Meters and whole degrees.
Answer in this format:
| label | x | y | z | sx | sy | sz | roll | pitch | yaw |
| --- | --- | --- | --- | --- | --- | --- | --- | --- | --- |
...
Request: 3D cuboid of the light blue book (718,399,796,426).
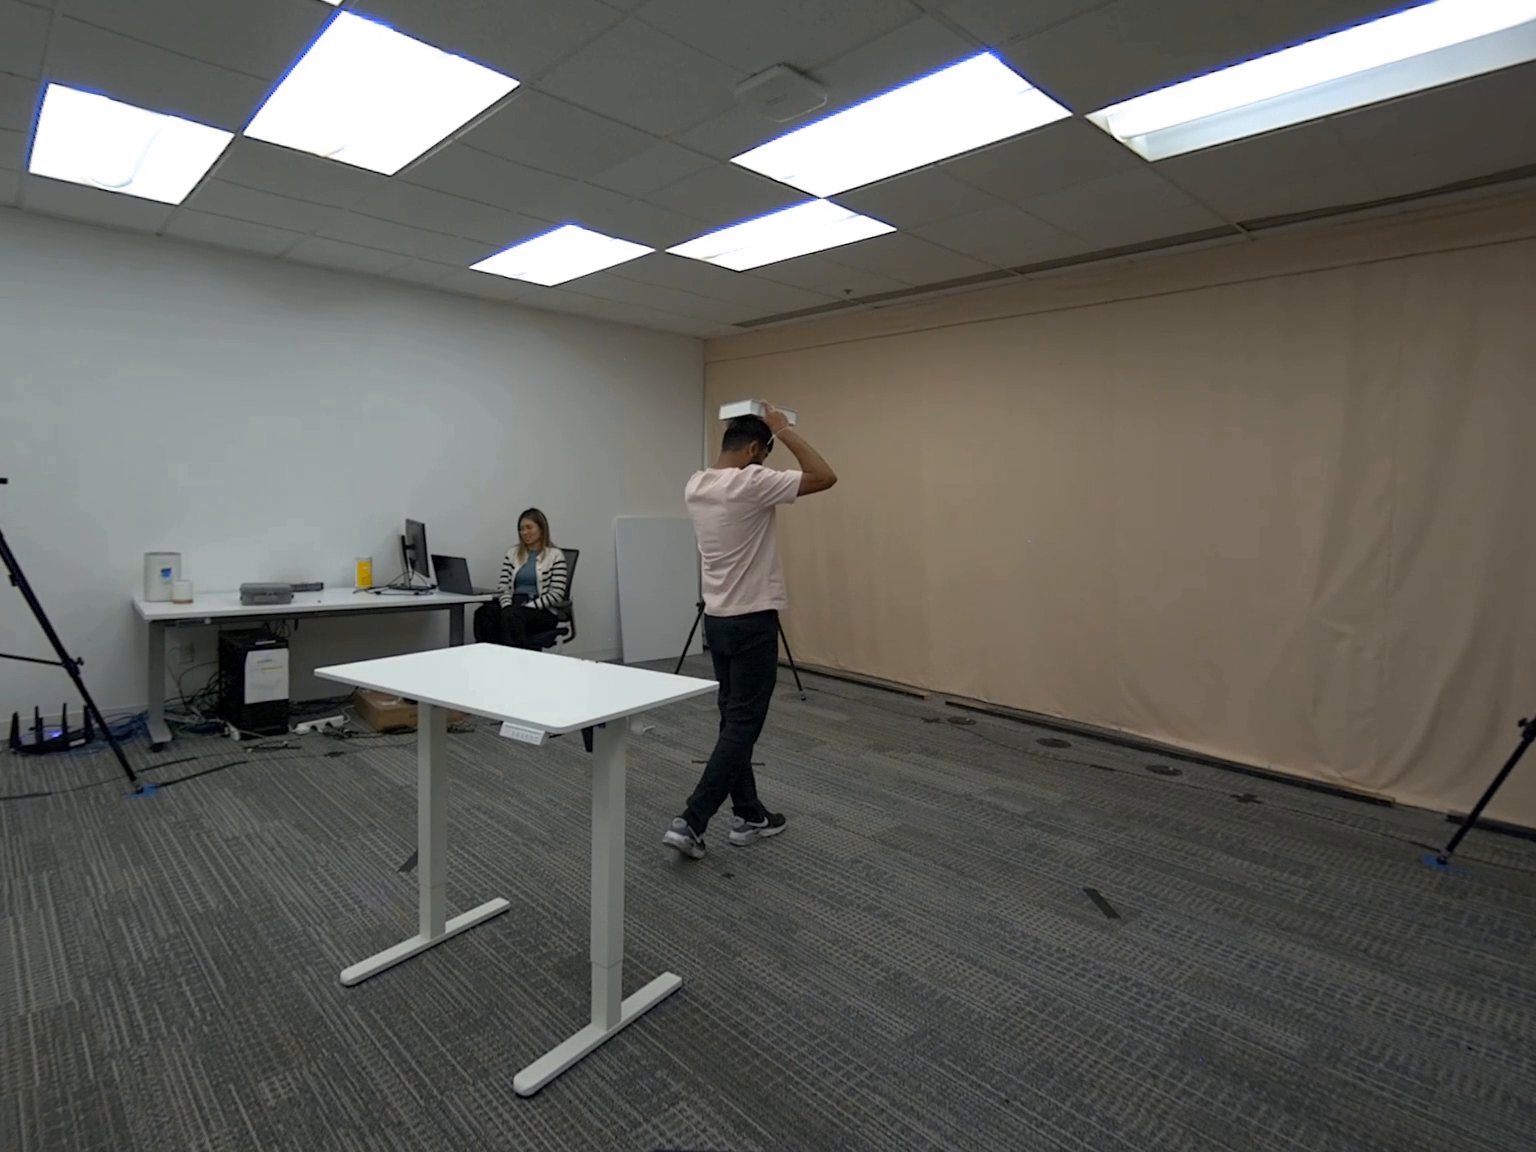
| label | x | y | z | sx | sy | sz | roll | pitch | yaw |
| --- | --- | --- | --- | --- | --- | --- | --- | --- | --- |
| light blue book | -0.041 | -0.647 | 3.411 | 0.254 | 0.059 | 0.196 | 5 | -3 | -43 |
